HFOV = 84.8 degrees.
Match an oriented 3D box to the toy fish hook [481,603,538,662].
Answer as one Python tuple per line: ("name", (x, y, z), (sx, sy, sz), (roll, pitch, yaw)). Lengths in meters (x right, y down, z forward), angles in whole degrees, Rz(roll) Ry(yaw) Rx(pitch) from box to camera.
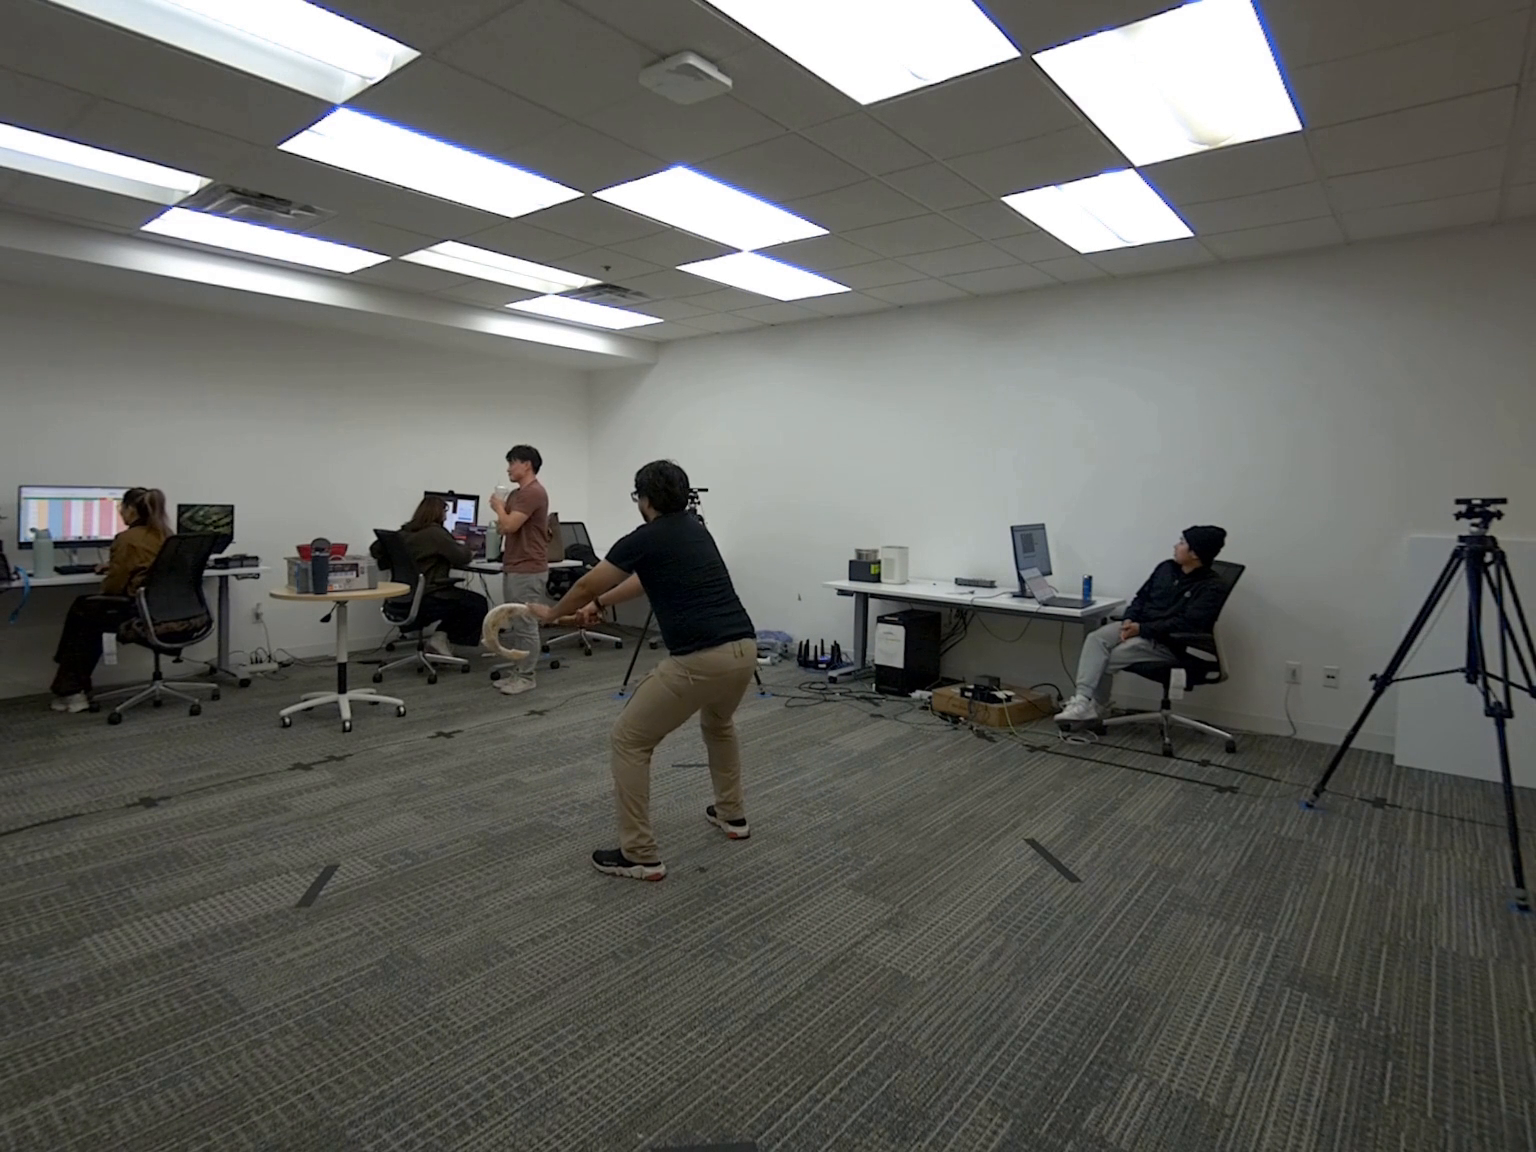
("toy fish hook", (-0.940, 0.234, 3.522), (0.494, 0.223, 0.050), (2, 8, -26))
